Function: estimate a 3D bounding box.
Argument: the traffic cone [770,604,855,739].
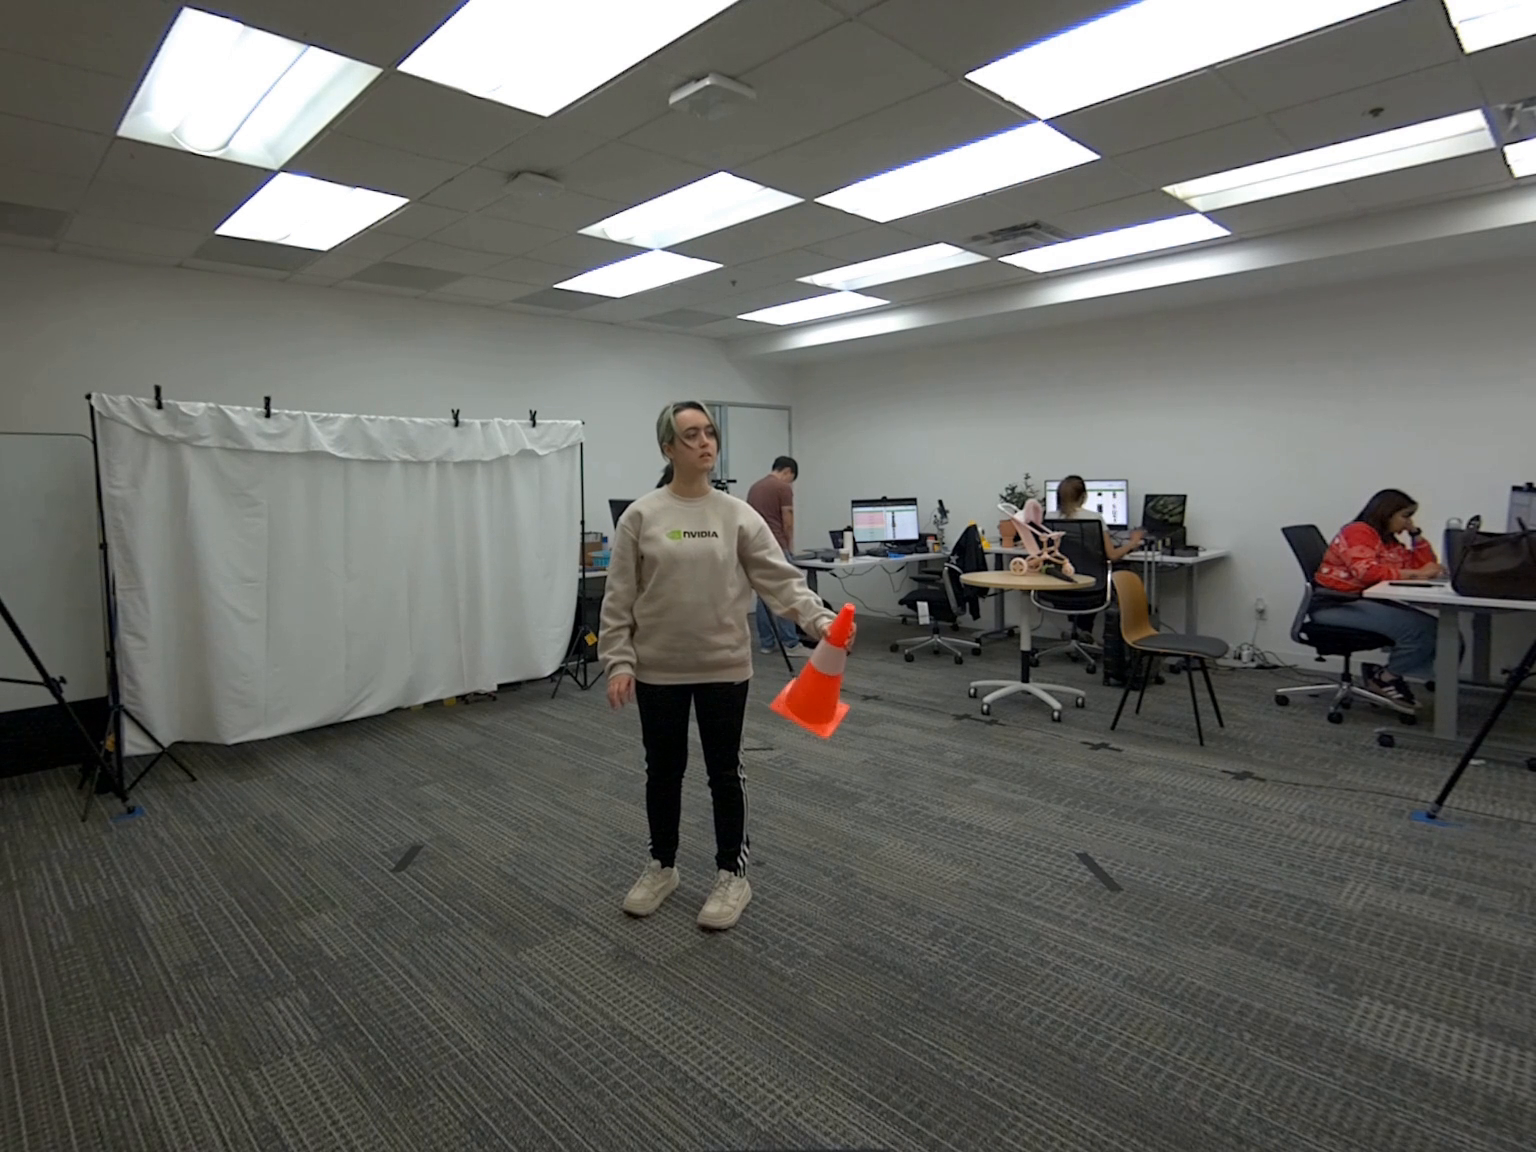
[{"bbox_3d":[0.179,0.244,2.498,0.208,0.378,0.203,29,31,19],"label":"traffic cone"}]
